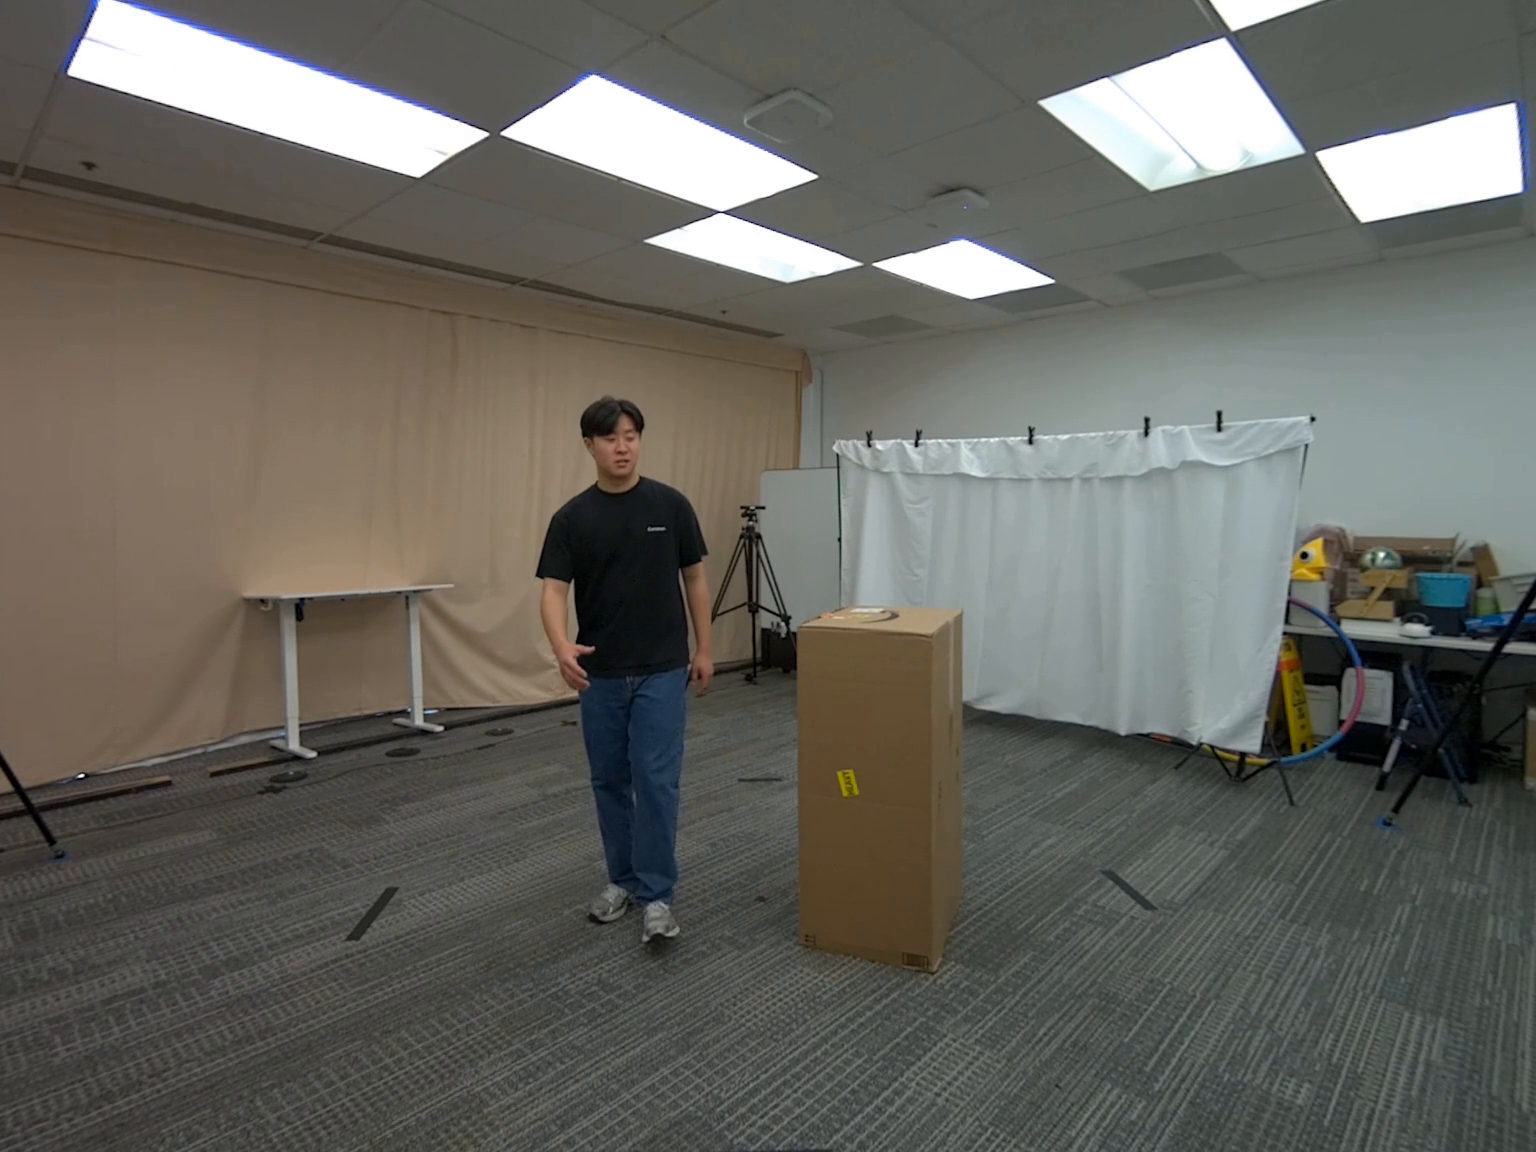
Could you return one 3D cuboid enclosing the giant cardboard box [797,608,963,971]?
[{"bbox_3d":[0.393,0.643,2.816,0.458,1.025,0.570,0,3,25],"label":"giant cardboard box"}]
